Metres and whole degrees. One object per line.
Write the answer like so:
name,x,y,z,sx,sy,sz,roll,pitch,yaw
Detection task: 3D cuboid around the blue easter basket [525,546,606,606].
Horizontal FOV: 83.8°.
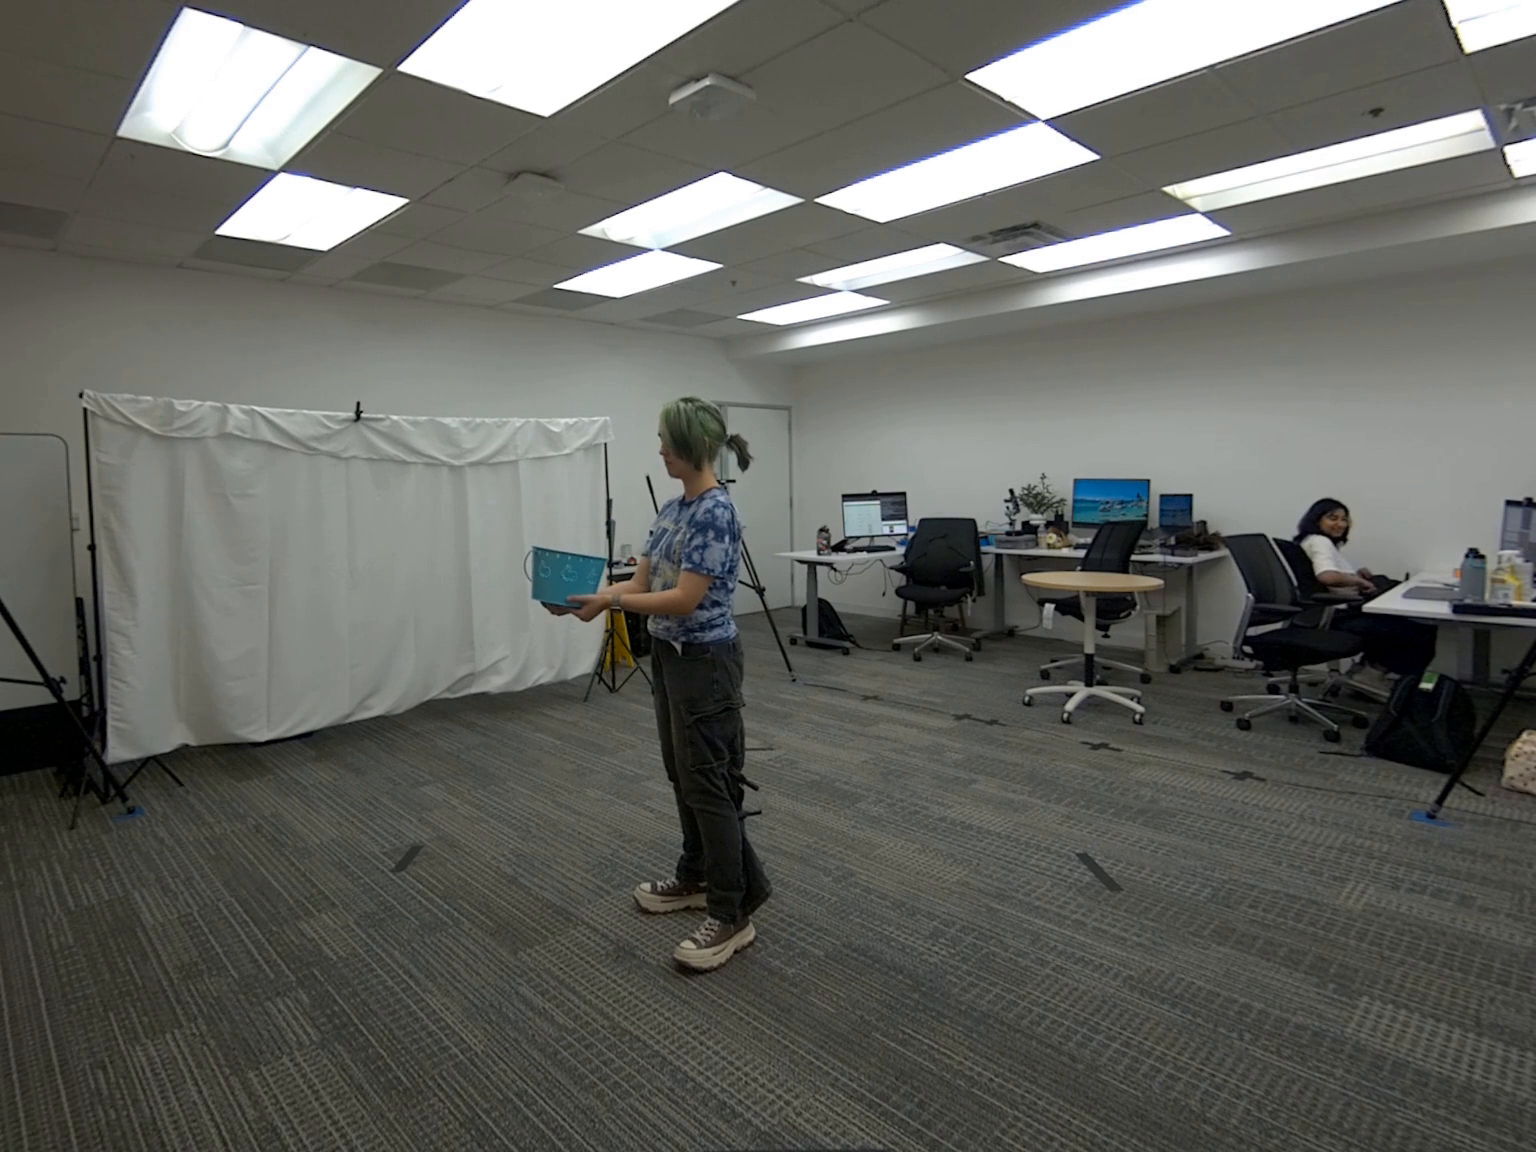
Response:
blue easter basket,-0.587,0.004,2.512,0.243,0.156,0.244,8,1,-2
